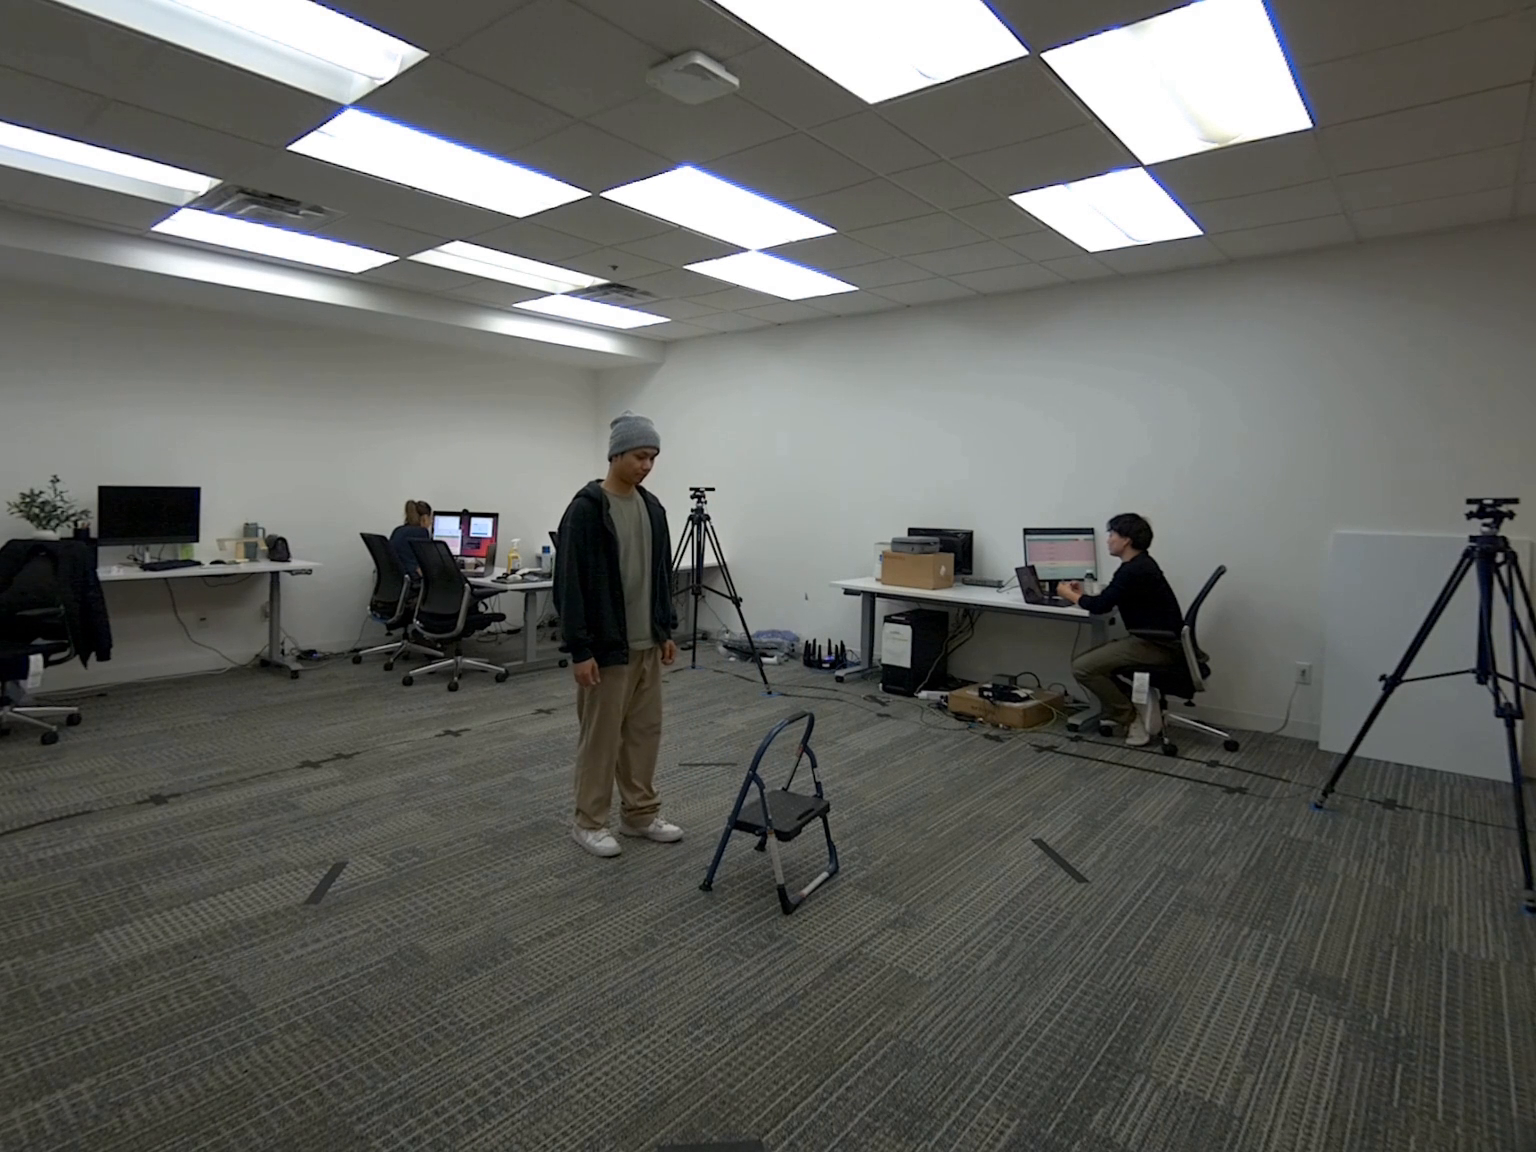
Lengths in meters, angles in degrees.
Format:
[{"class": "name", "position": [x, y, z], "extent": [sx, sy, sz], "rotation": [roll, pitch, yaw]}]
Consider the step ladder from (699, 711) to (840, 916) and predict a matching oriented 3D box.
[{"class": "step ladder", "position": [0.014, 0.777, 3.017], "extent": [0.359, 0.604, 0.420], "rotation": [3, 4, 29]}]
